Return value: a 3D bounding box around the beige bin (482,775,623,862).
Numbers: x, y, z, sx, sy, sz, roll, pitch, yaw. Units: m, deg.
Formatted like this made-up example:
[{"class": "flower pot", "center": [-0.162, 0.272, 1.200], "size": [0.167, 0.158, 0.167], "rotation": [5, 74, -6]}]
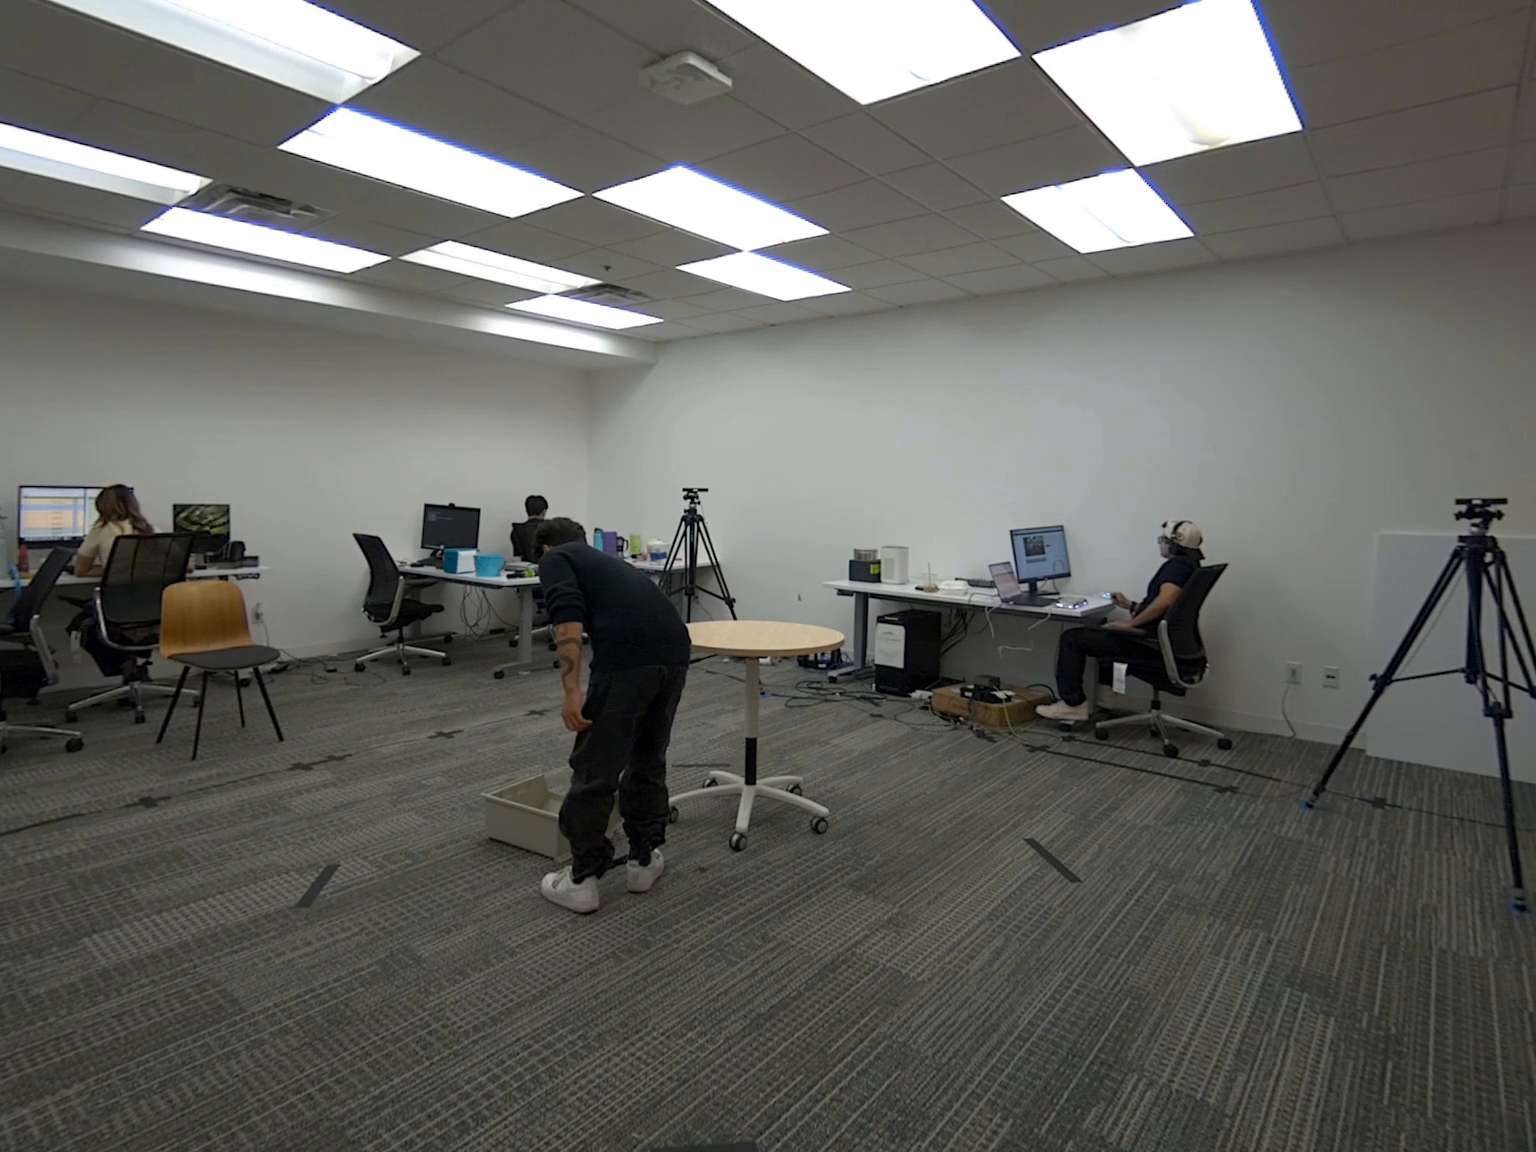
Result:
[{"class": "beige bin", "center": [-0.875, 0.945, 3.386], "size": [0.435, 0.188, 0.368], "rotation": [4, 6, 30]}]
